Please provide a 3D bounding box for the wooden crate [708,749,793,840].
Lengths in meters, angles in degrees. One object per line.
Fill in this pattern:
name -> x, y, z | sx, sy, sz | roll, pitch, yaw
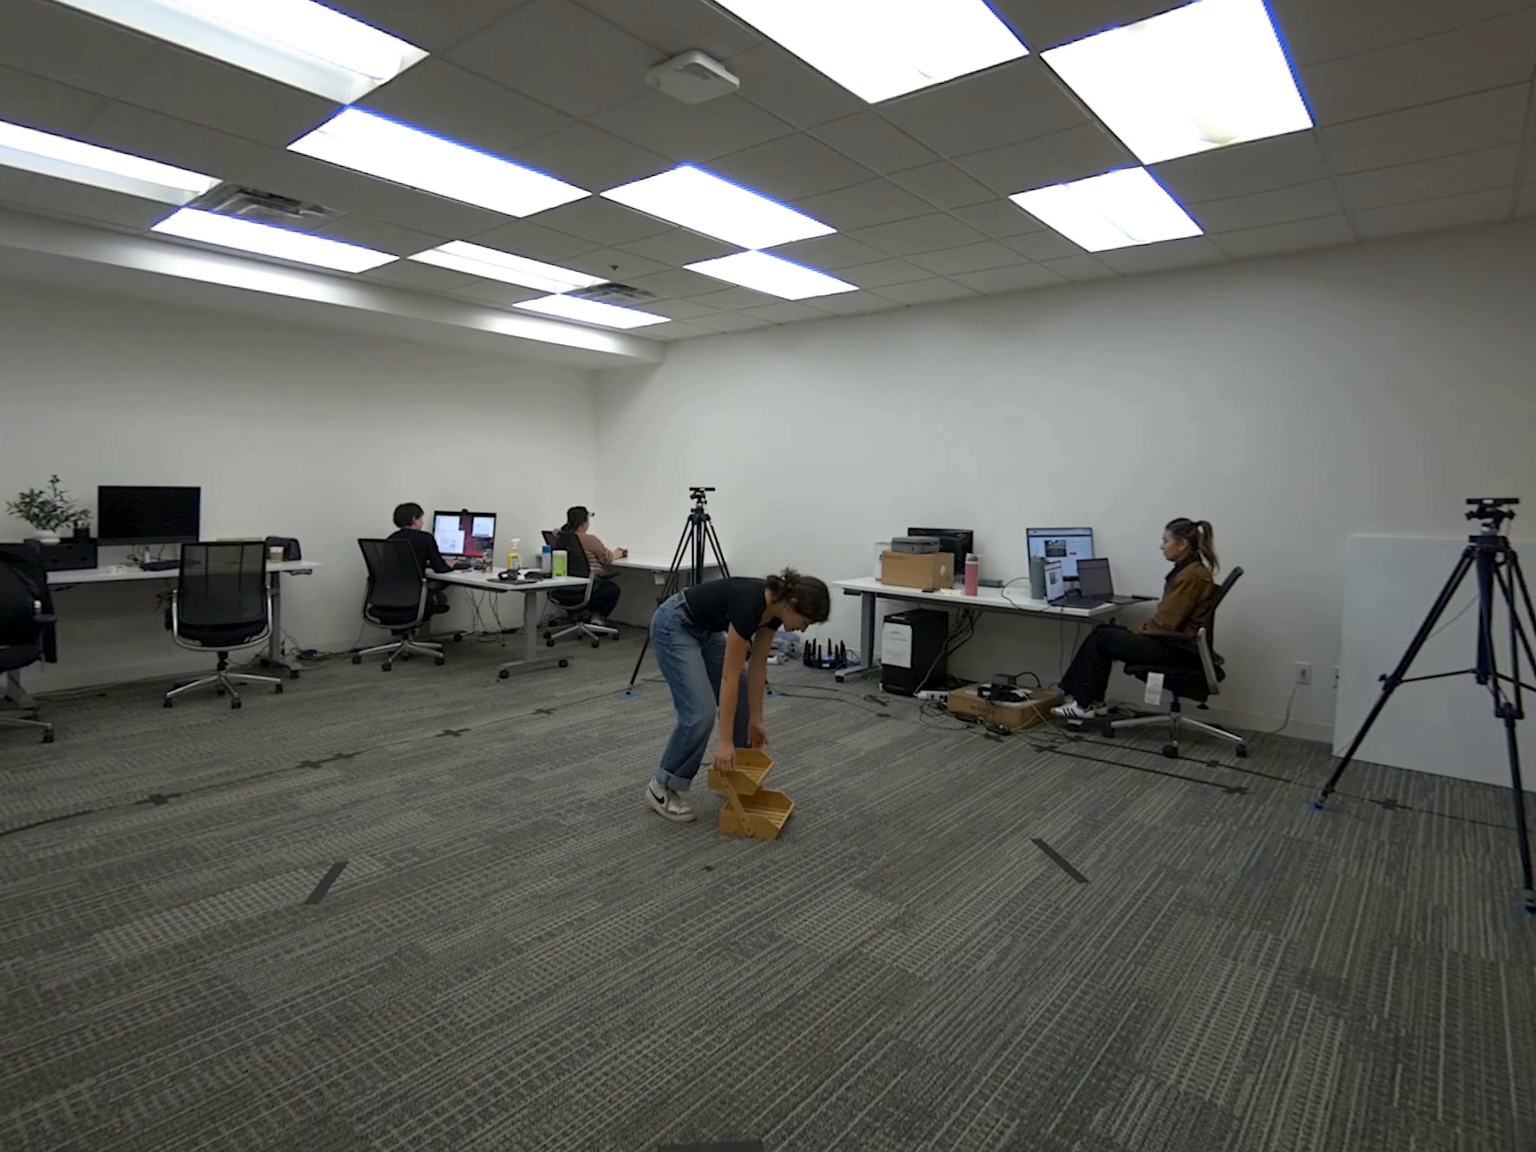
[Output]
wooden crate -> -0.070, 0.896, 3.550 | 0.307, 0.272, 0.320 | 1, 4, 14
